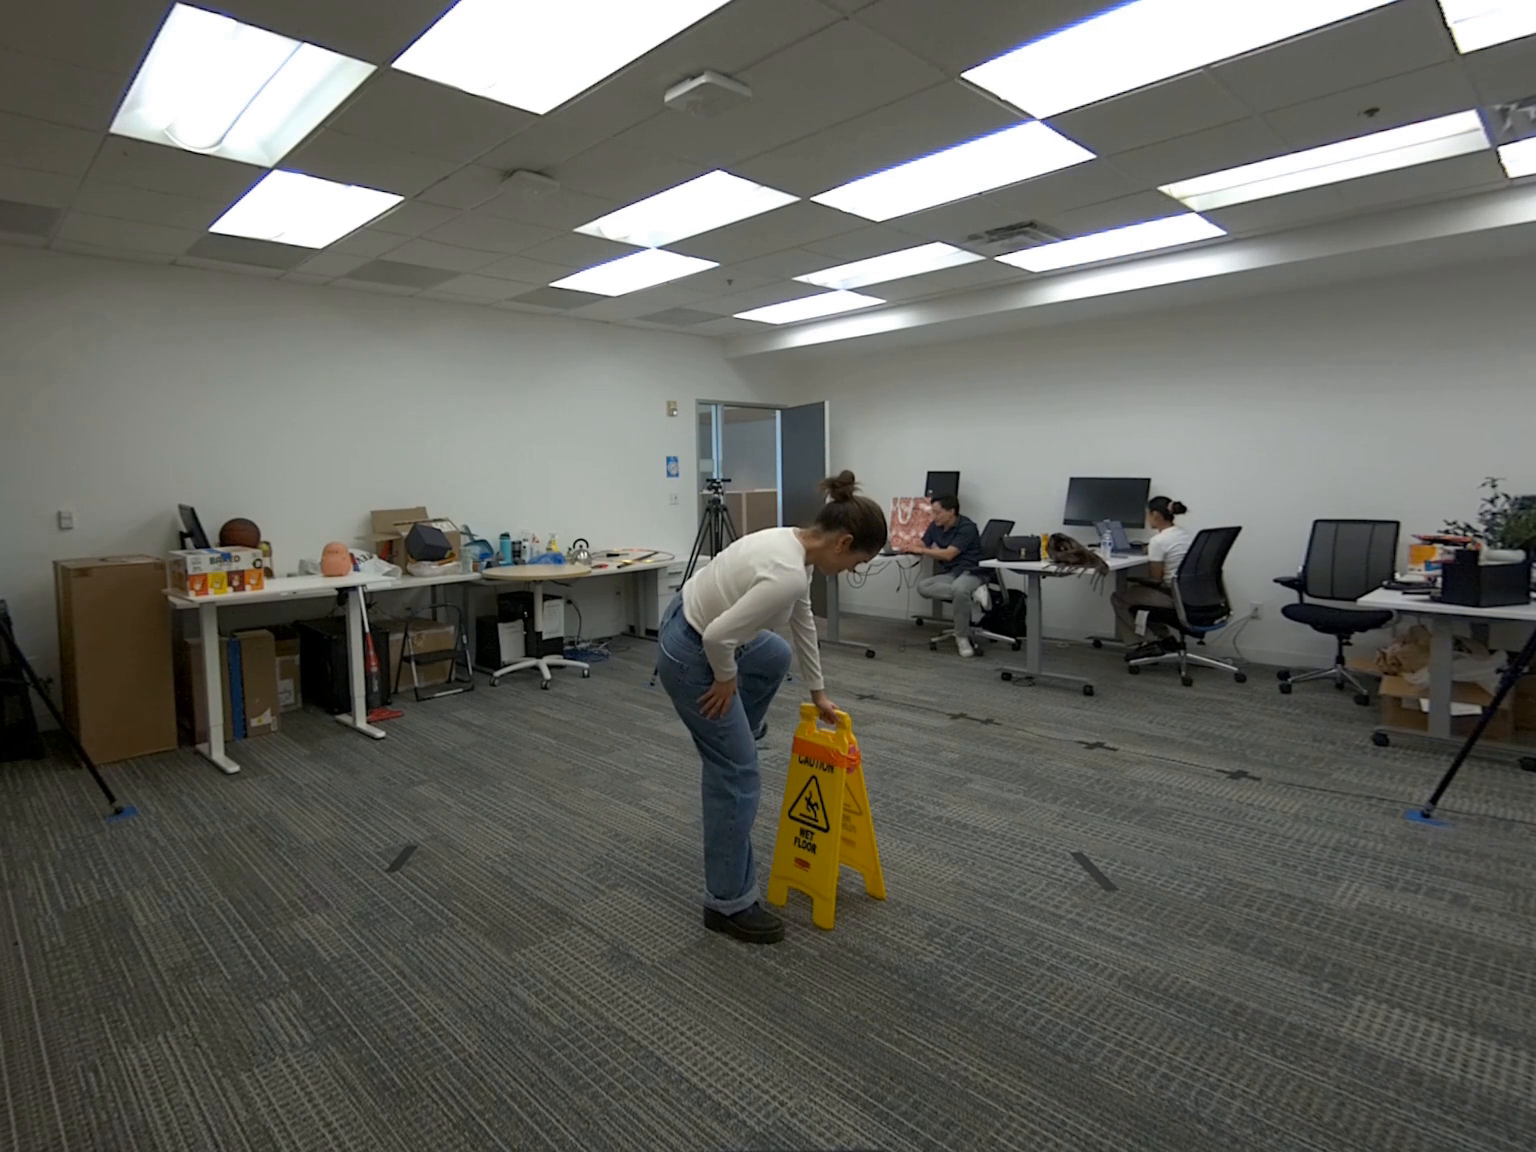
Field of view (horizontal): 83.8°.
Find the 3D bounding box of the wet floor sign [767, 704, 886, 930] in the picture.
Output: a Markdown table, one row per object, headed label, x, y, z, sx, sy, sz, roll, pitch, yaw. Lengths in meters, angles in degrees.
| label | x | y | z | sx | sy | sz | roll | pitch | yaw |
| --- | --- | --- | --- | --- | --- | --- | --- | --- | --- |
| wet floor sign | 0.192 | 0.751 | 2.807 | 0.282 | 0.644 | 0.291 | -6 | 5 | -44 |
